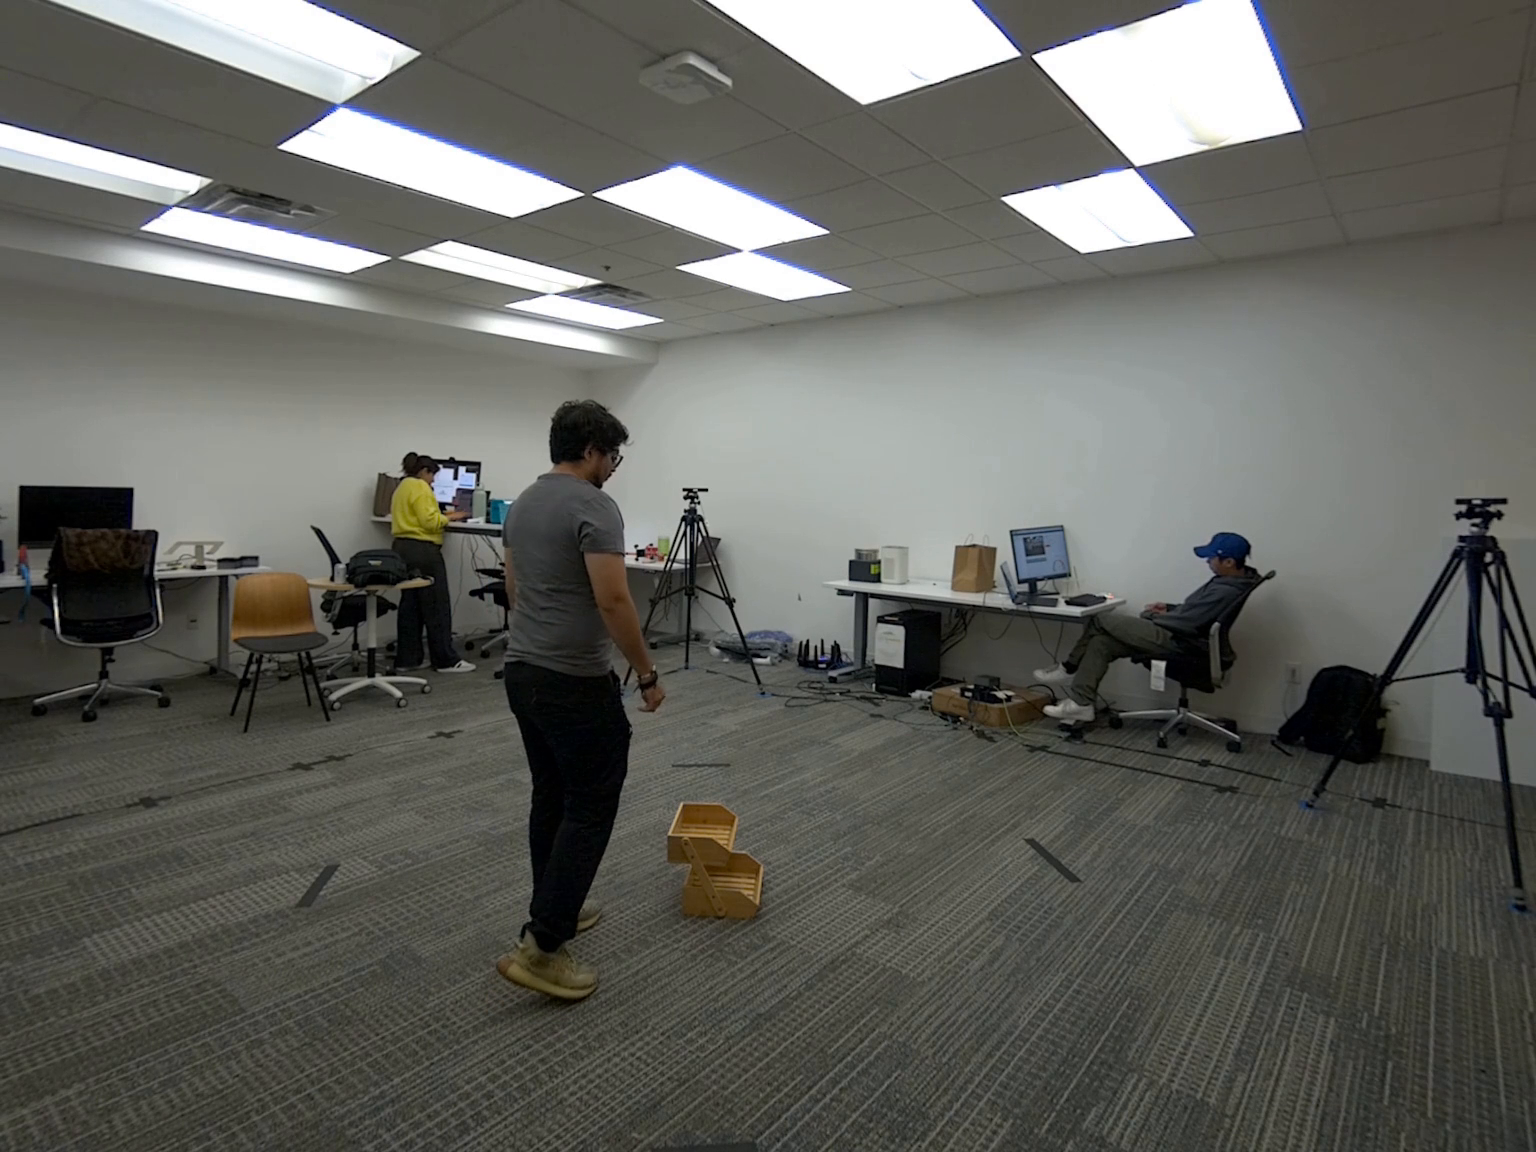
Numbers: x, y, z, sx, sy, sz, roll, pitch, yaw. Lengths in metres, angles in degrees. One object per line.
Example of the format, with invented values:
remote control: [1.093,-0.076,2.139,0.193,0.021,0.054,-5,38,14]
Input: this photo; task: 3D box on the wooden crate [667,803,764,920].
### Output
wooden crate: [-0.174,0.956,2.904,0.303,0.272,0.324,0,4,4]
